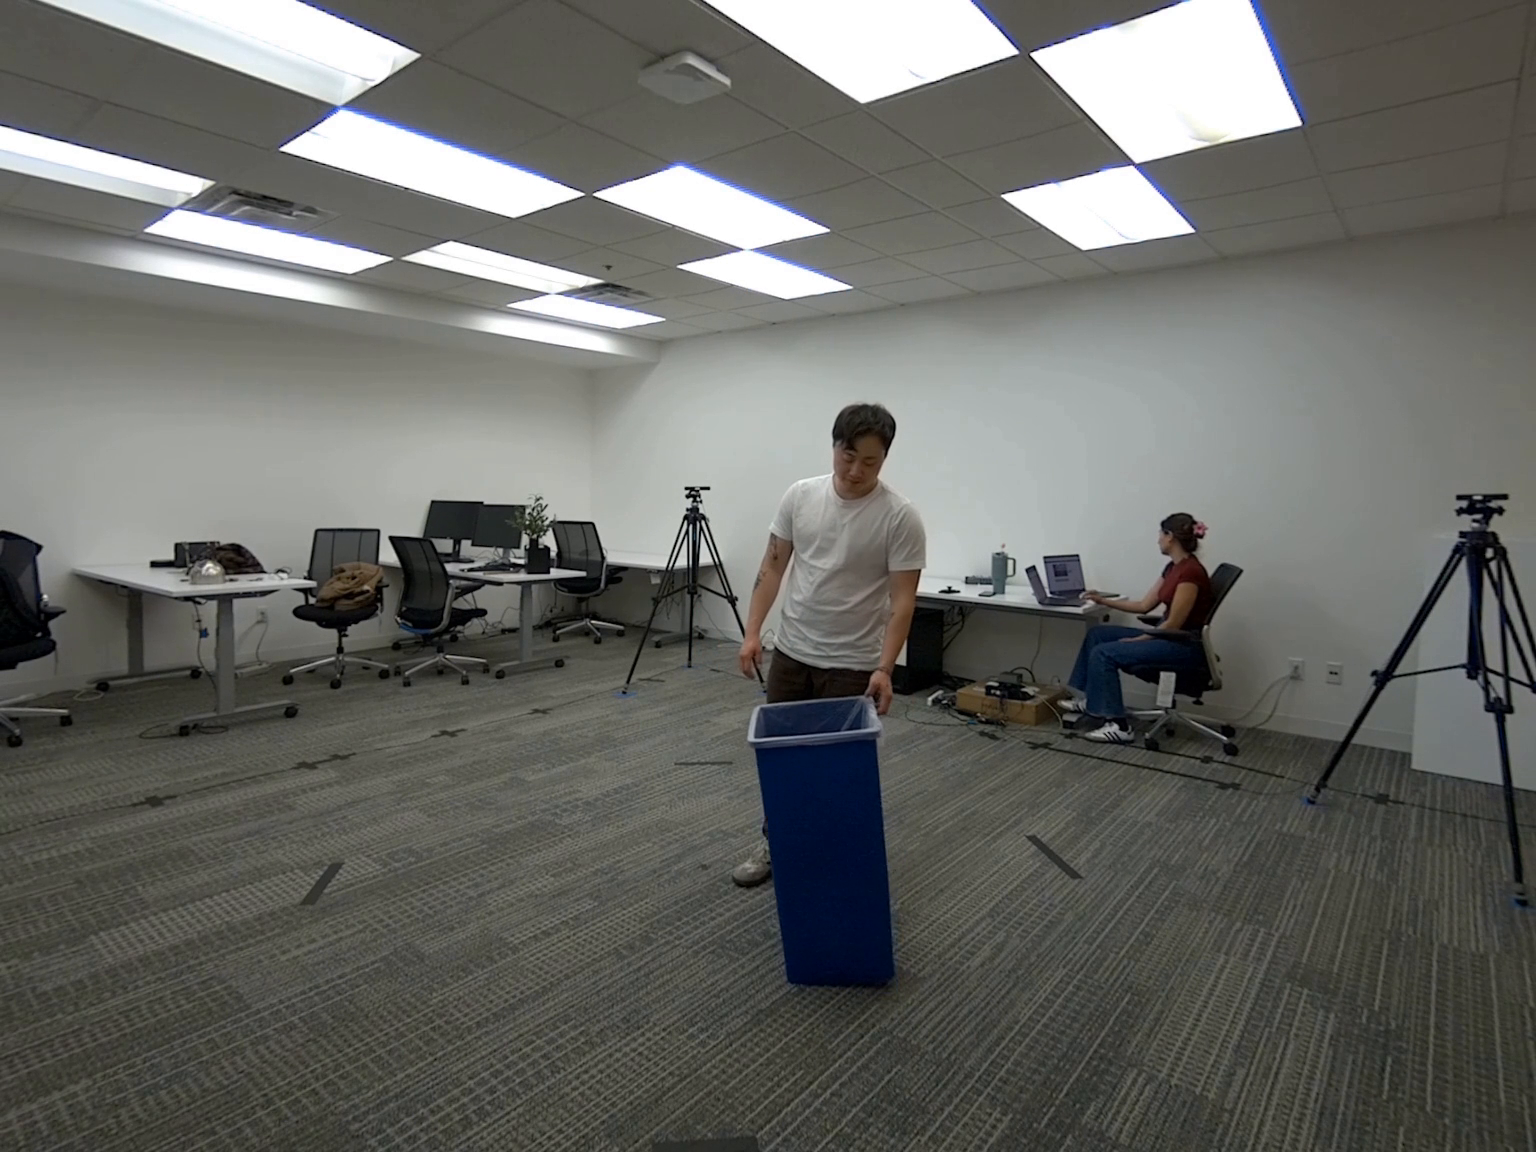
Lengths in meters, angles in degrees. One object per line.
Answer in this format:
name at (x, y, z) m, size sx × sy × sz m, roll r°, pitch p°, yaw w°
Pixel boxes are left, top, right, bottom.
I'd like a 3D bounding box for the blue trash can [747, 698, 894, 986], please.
blue trash can at (0.162, 0.761, 2.500) m, size 0.379 × 0.710 × 0.374 m, roll -6°, pitch 4°, yaw 3°
